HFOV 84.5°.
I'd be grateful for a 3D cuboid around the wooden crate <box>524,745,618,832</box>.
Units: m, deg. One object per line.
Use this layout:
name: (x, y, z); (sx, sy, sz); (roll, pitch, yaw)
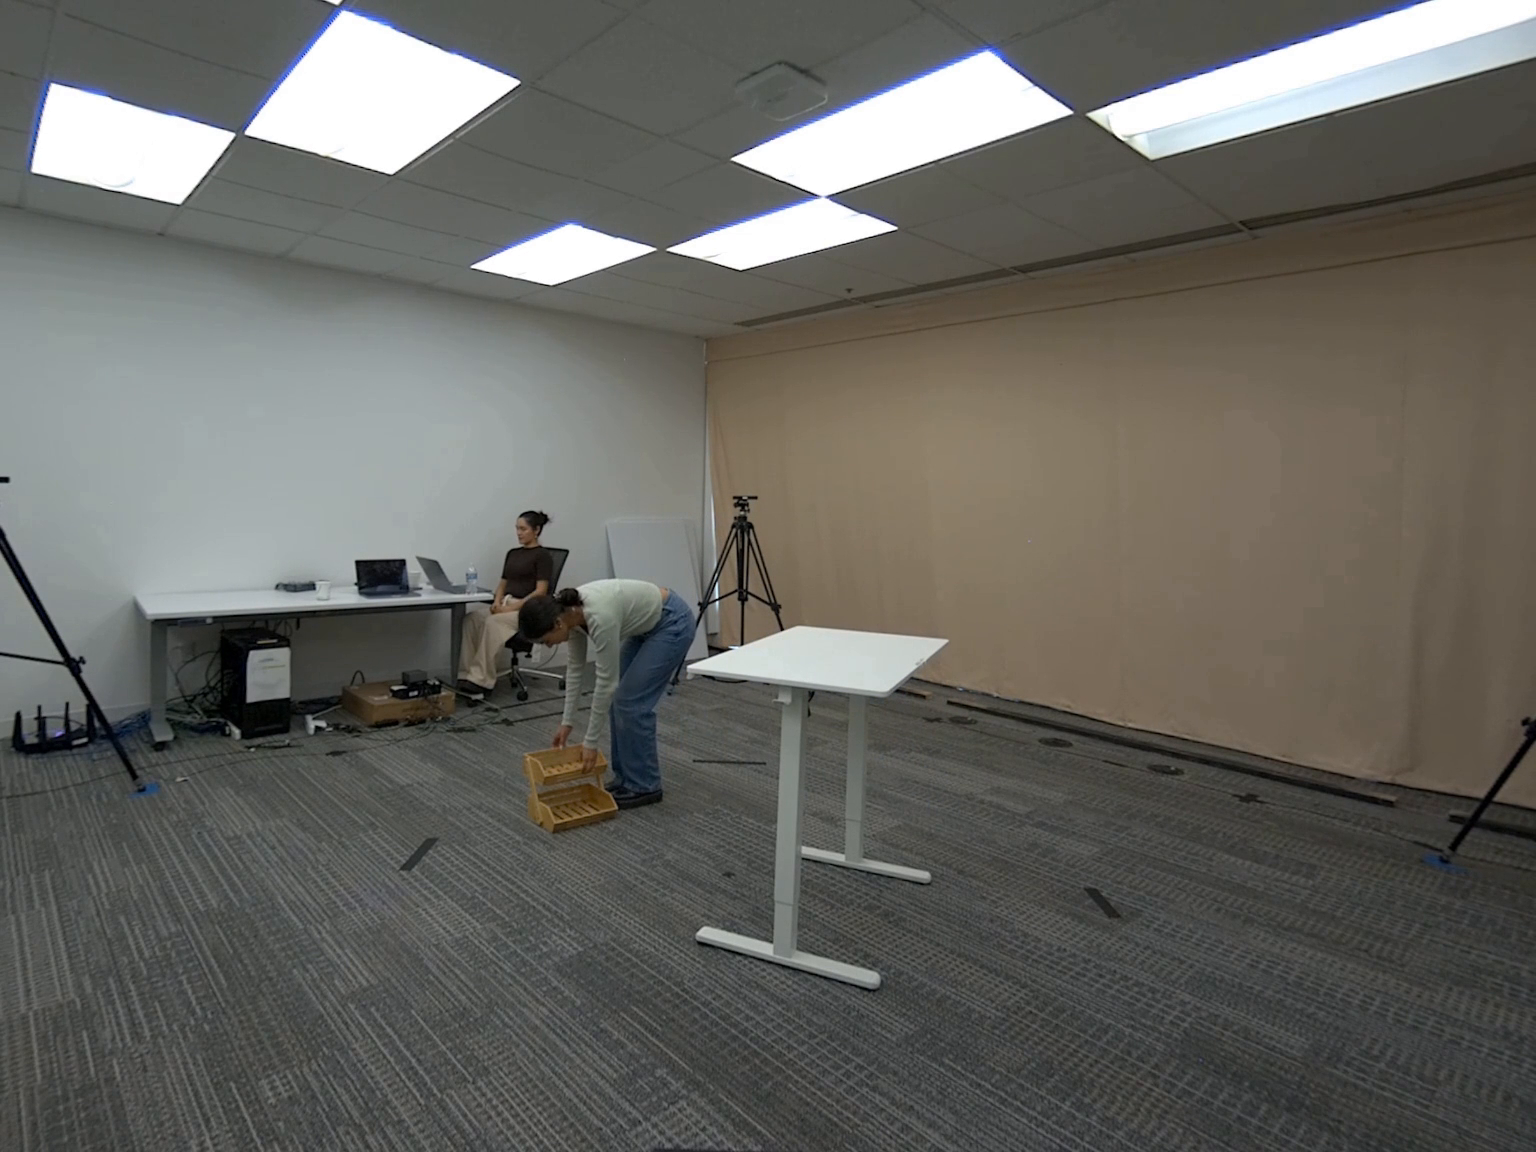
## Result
wooden crate: (-0.860, 0.901, 3.631); (0.317, 0.273, 0.309); (-2, 4, -40)
